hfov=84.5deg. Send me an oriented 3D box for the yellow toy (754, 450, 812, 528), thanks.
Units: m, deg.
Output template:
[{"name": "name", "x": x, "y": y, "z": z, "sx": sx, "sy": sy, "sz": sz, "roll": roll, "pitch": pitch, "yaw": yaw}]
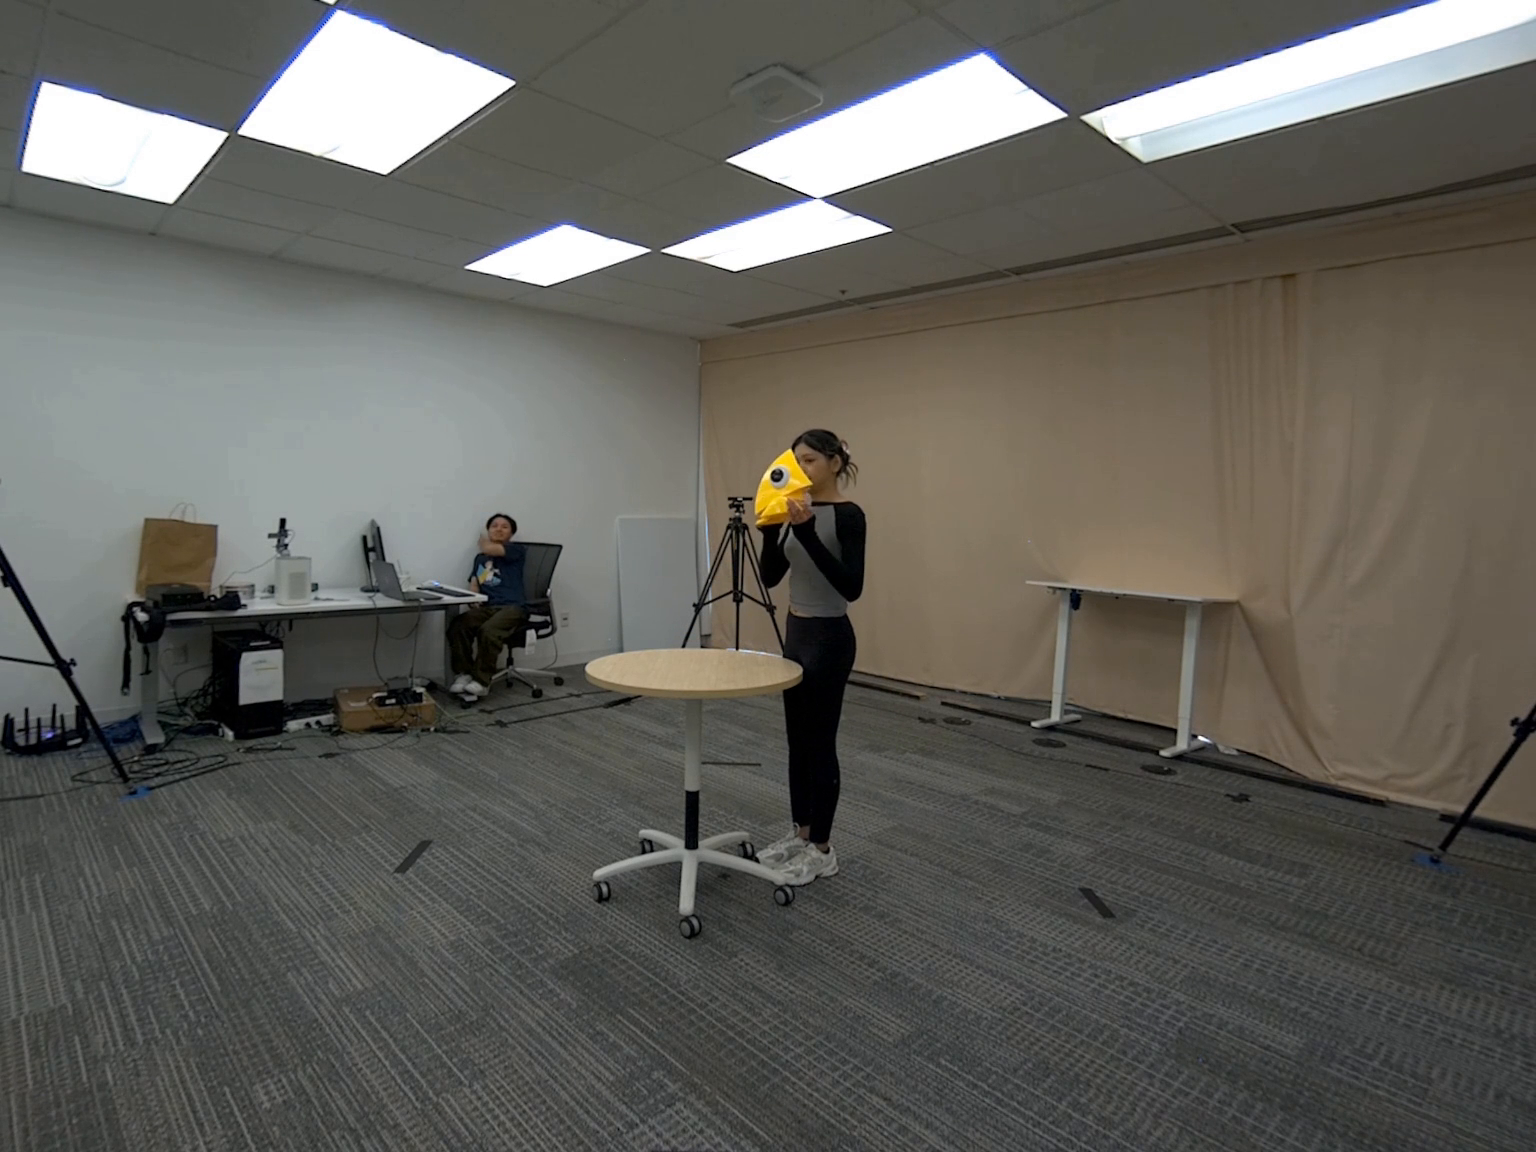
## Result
[{"name": "yellow toy", "x": 0.033, "y": -0.302, "z": 2.824, "sx": 0.192, "sy": 0.232, "sz": 0.204, "roll": -9, "pitch": -6, "yaw": -6}]
